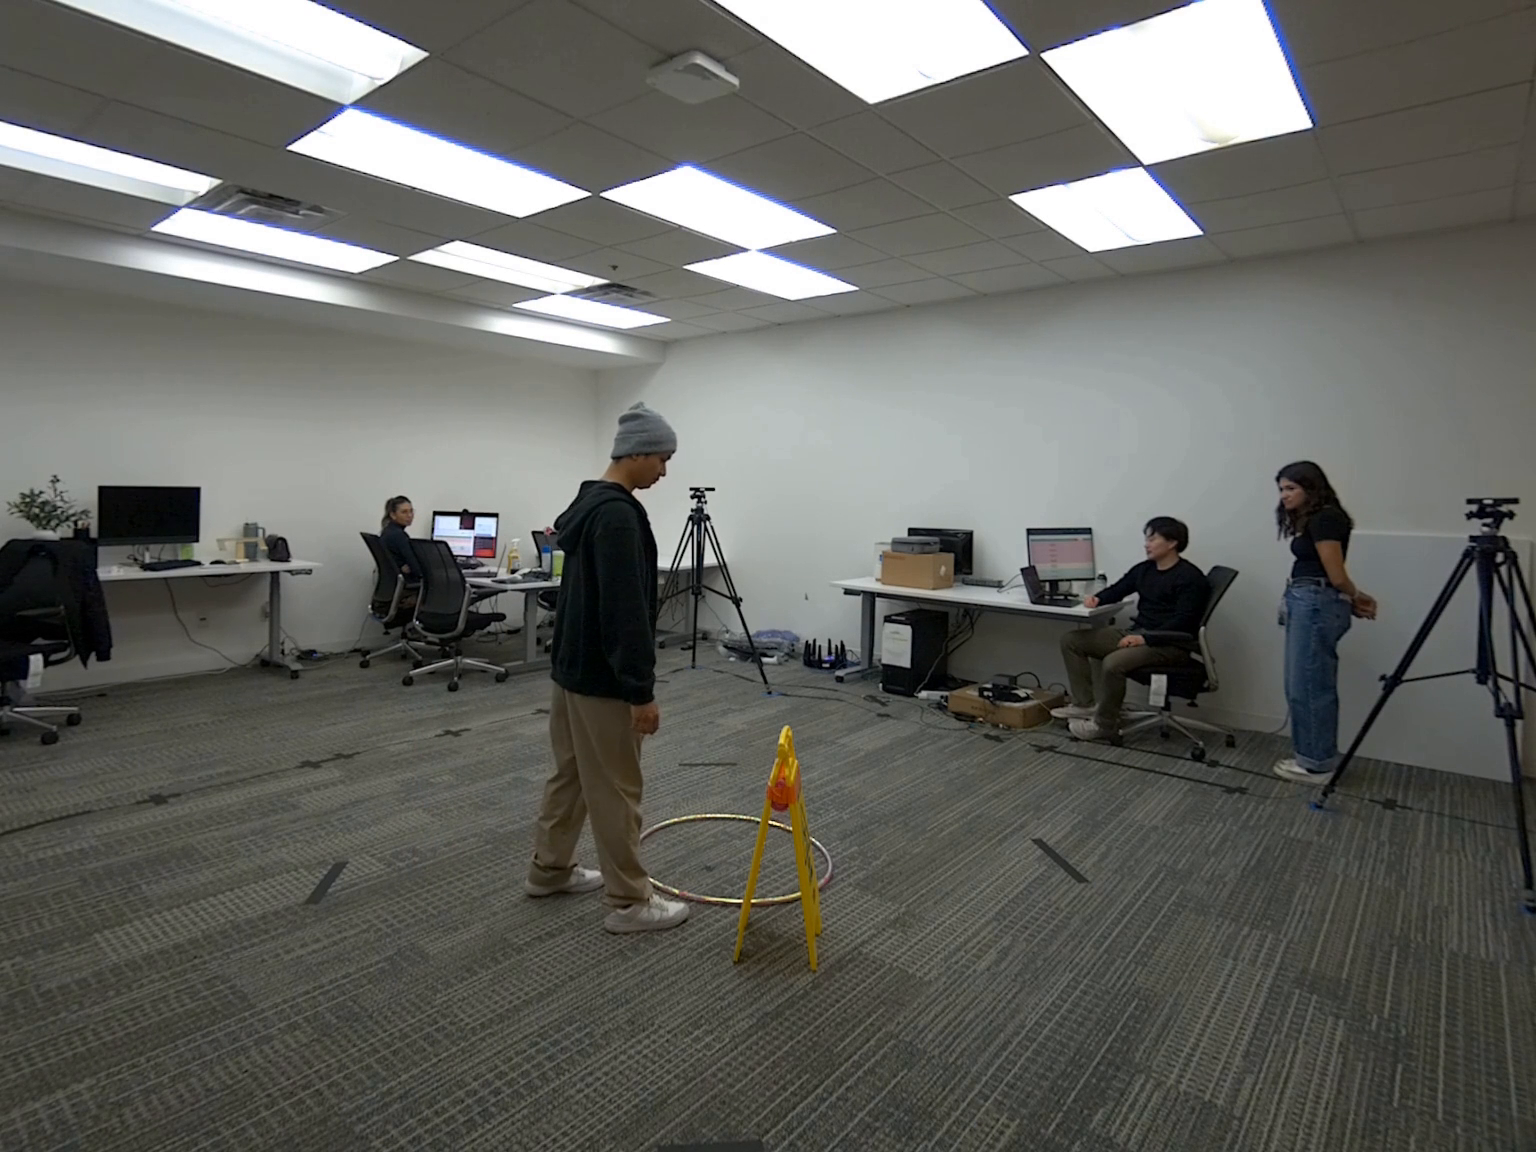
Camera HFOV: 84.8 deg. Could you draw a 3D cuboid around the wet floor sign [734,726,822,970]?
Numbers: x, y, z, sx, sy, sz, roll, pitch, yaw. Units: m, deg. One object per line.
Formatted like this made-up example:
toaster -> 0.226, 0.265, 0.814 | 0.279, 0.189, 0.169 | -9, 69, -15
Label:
wet floor sign -> 0.034, 0.801, 2.589 | 0.292, 0.645, 0.280 | 2, 2, 7
